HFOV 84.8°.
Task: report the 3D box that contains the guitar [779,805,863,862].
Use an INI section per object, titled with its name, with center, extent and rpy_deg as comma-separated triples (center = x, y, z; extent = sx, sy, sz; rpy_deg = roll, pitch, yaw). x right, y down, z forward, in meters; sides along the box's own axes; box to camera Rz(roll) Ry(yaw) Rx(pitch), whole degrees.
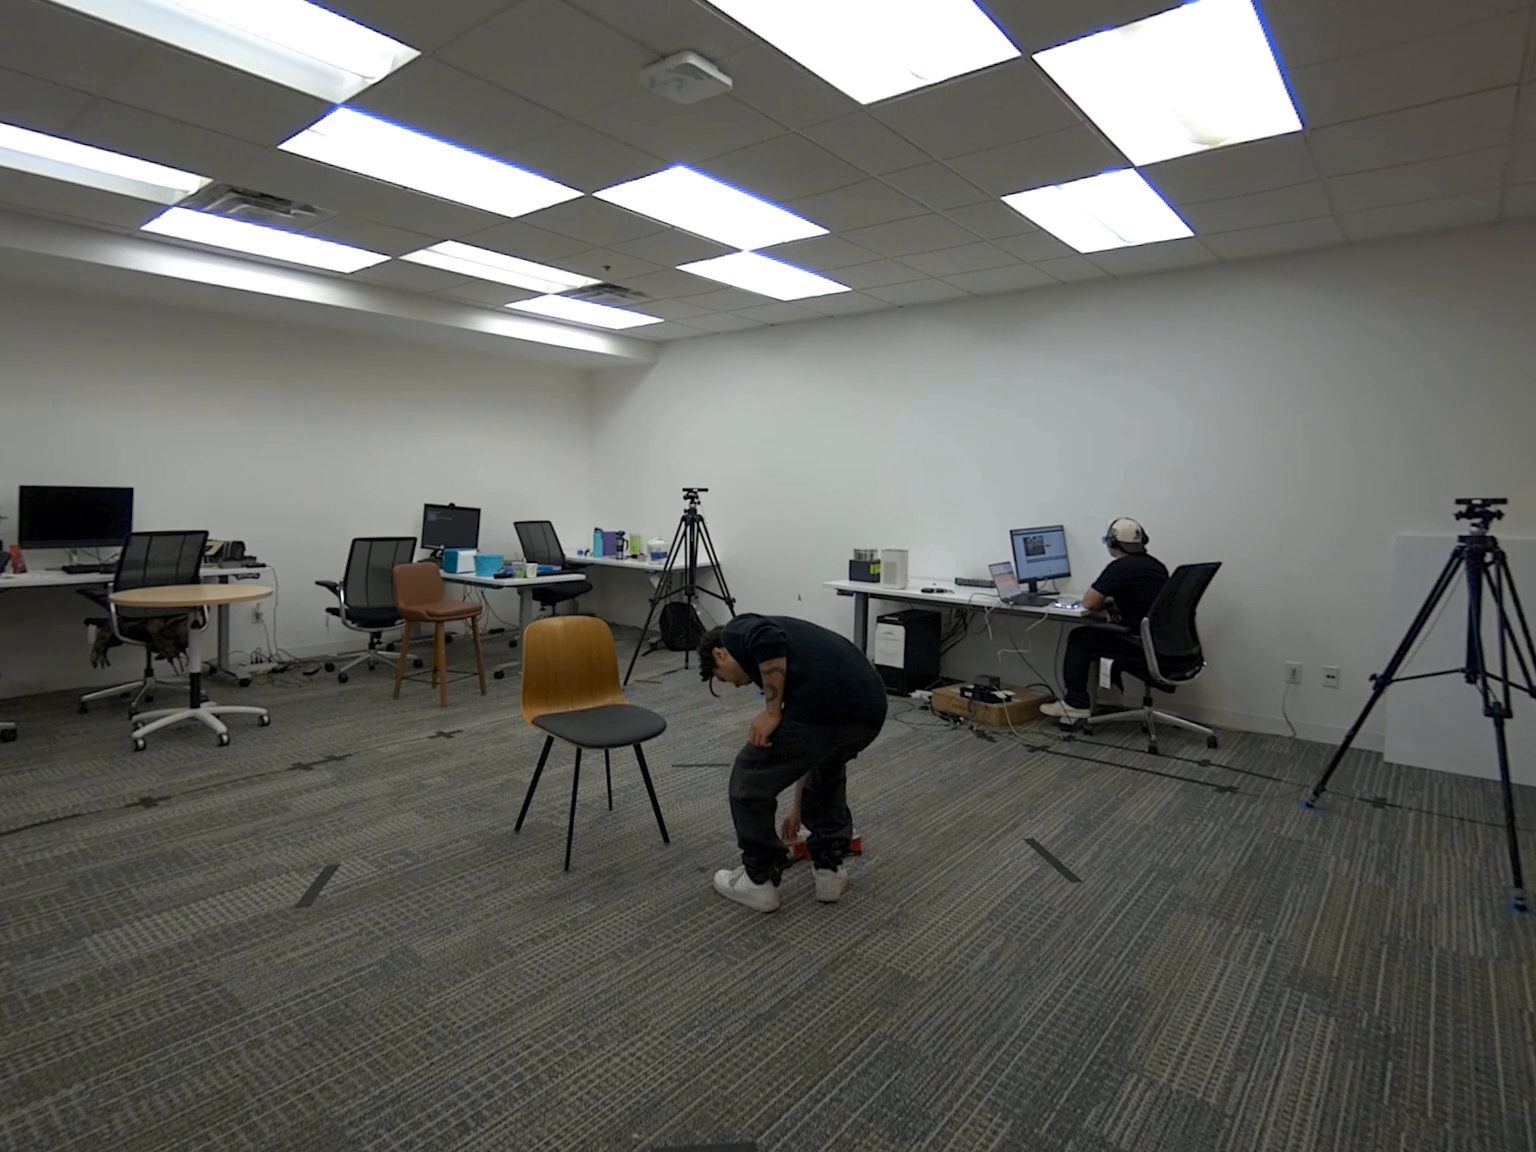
[guitar]
center = 0.114, 1.022, 3.274
extent = 0.486, 0.070, 0.198
rpy_deg = 0, 5, -23
